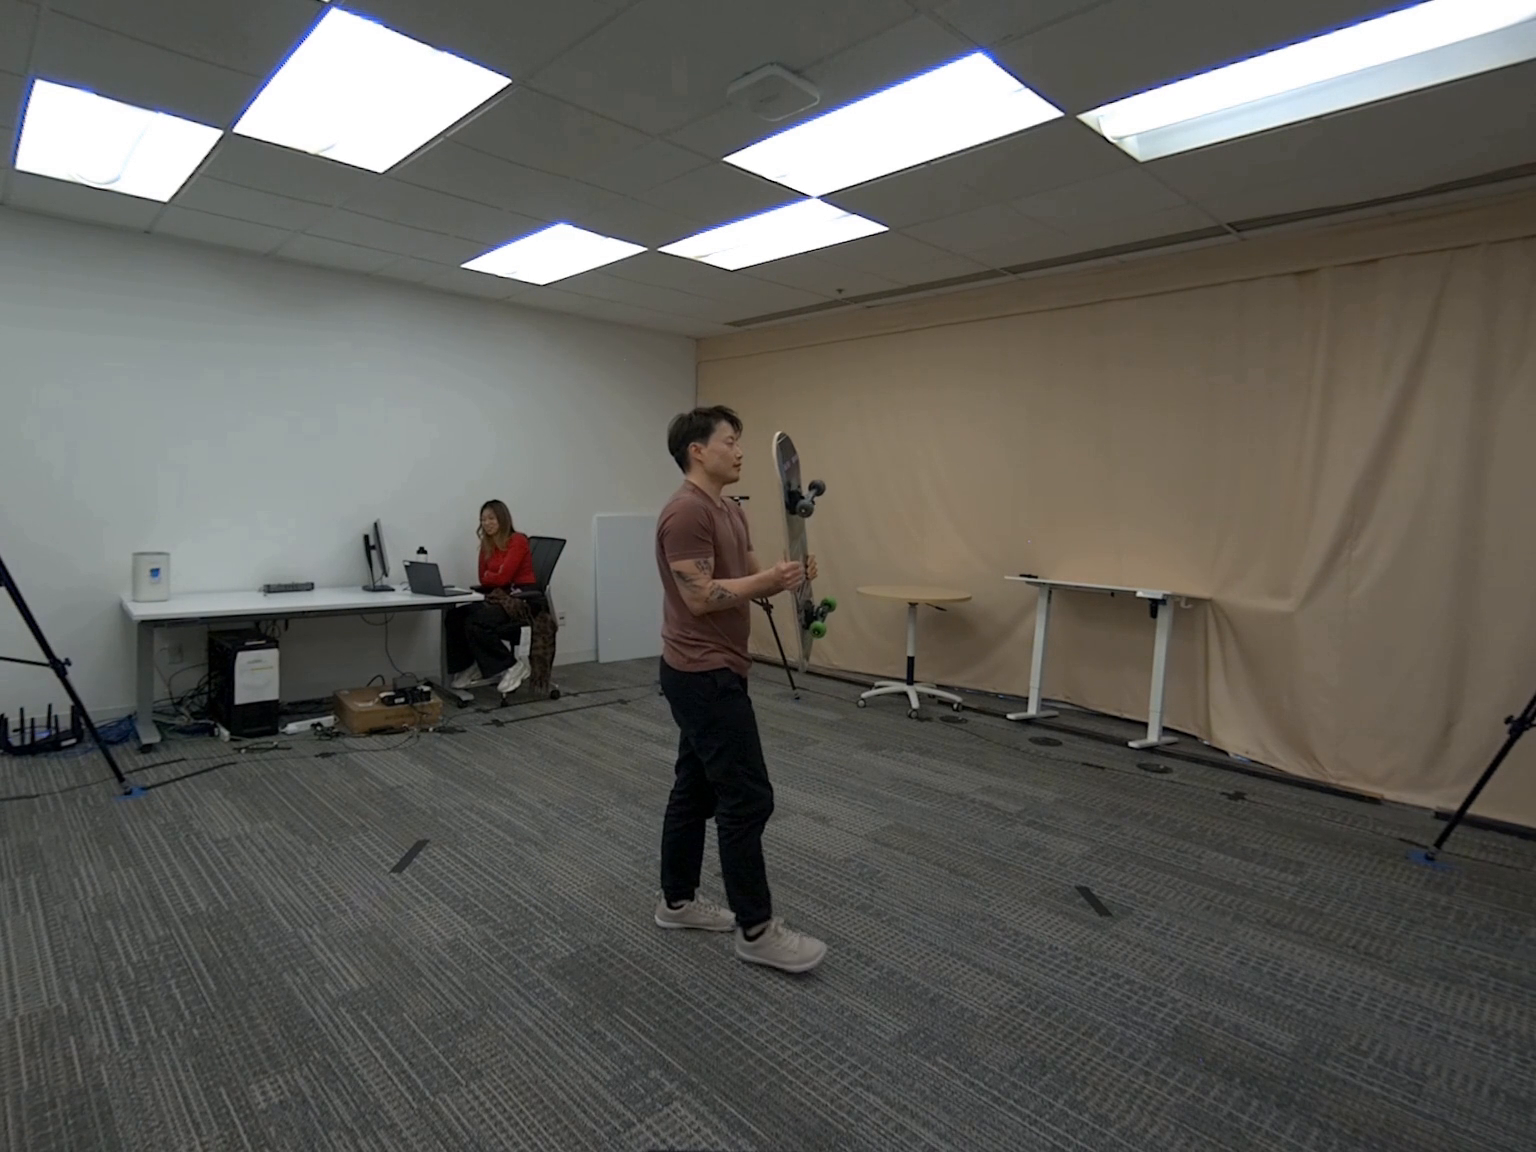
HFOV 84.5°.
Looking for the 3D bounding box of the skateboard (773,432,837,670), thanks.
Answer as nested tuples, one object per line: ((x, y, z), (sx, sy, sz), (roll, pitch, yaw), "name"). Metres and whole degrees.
((0.117, -0.049, 2.517), (0.112, 0.771, 0.194), (1, 26, 18), "skateboard")
